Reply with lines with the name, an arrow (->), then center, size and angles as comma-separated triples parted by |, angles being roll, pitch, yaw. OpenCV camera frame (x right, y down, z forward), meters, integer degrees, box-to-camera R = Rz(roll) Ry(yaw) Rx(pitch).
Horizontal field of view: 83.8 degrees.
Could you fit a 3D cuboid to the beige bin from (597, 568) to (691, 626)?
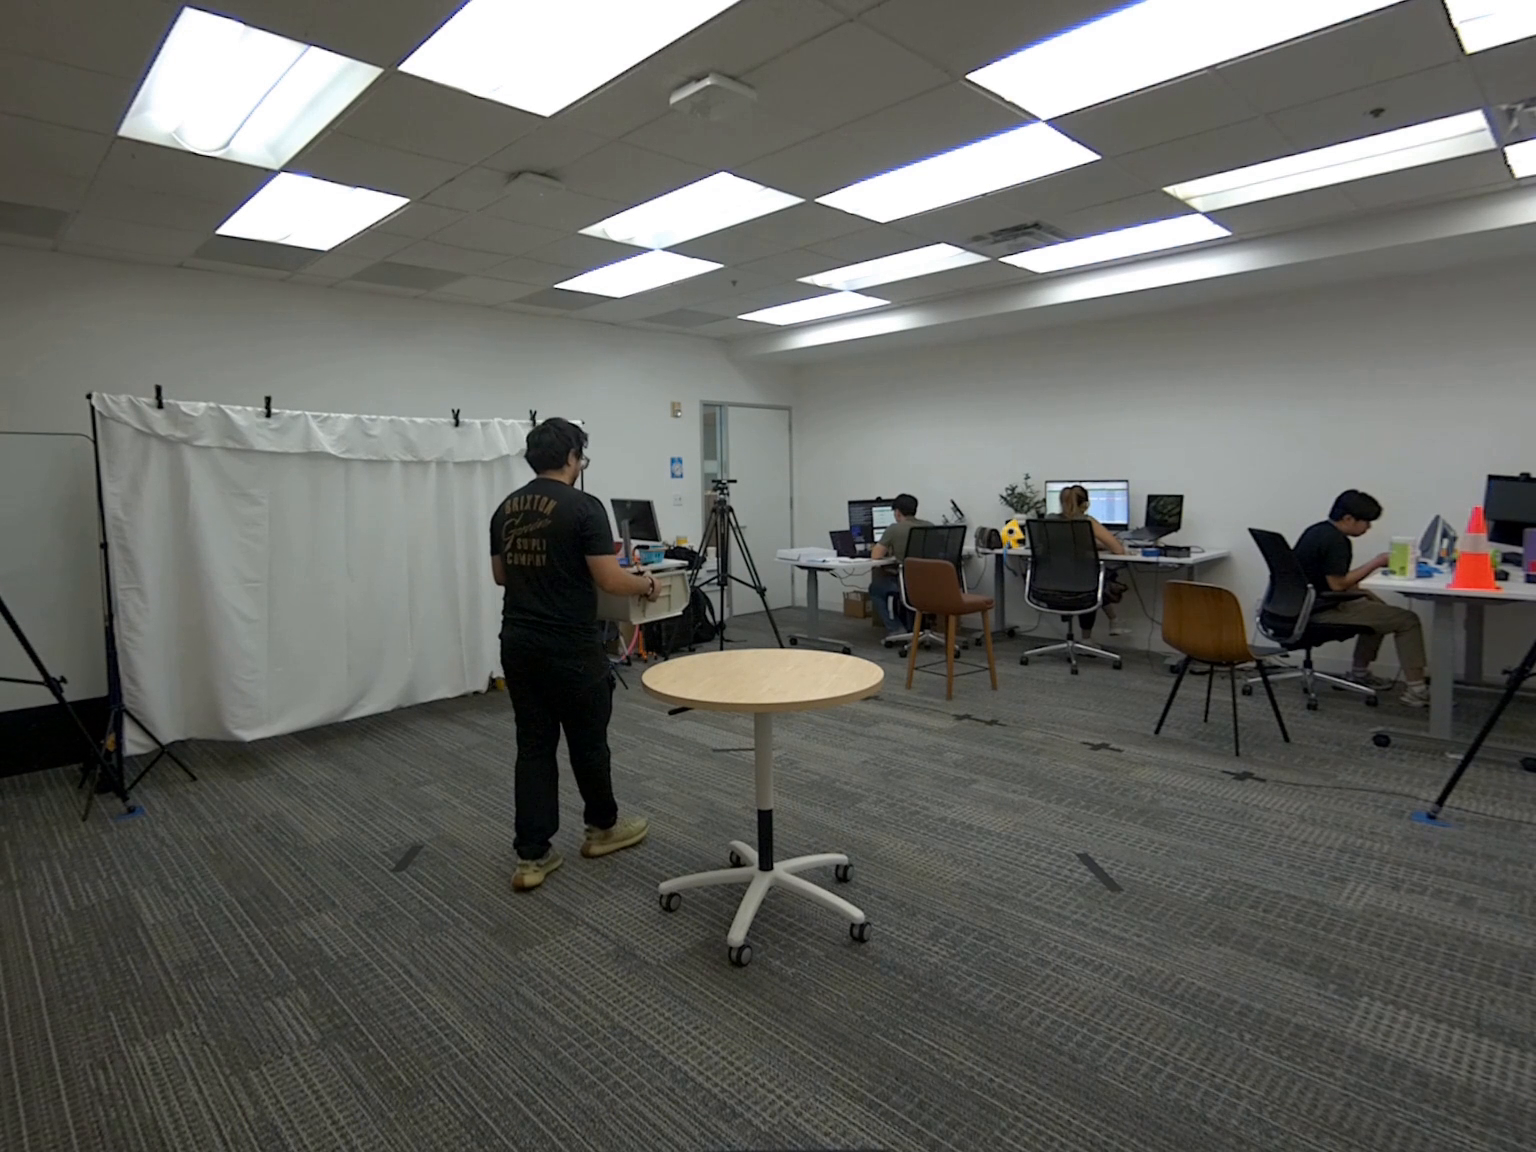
beige bin -> -0.585, 0.067, 3.441 | 0.434, 0.188, 0.369 | 5, 9, 32
